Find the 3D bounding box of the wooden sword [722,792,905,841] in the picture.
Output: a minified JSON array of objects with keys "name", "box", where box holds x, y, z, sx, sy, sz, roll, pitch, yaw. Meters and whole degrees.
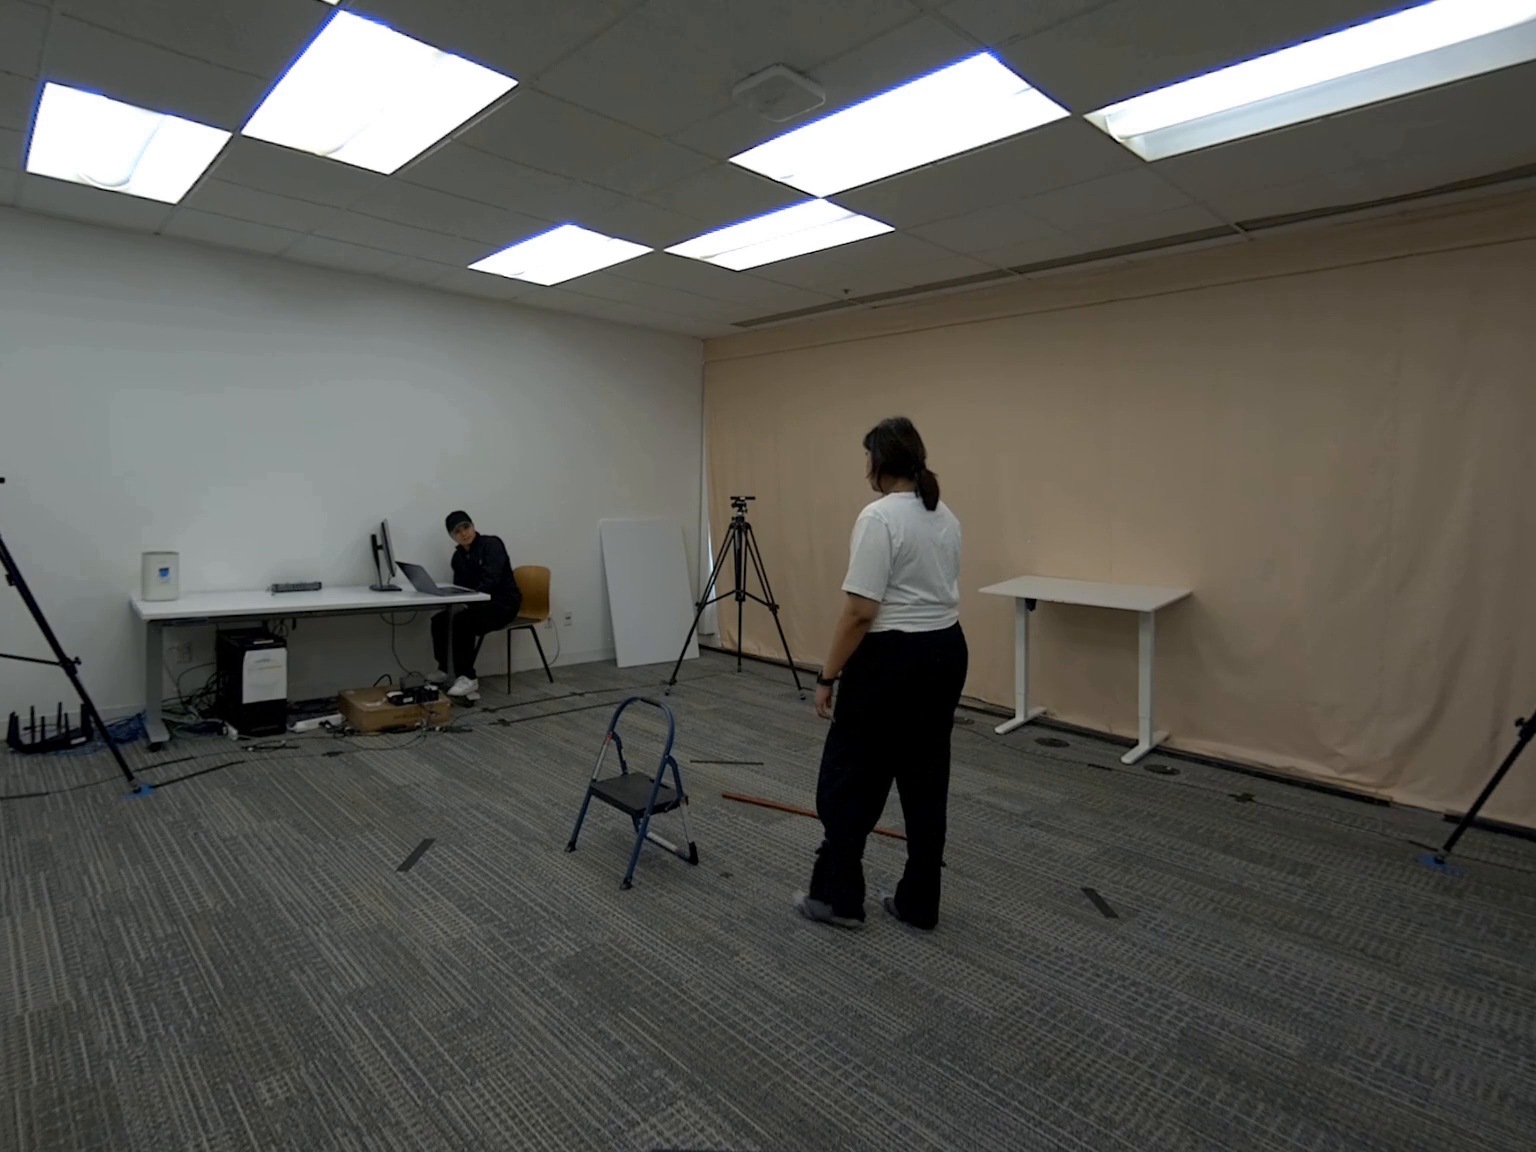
[{"name":"wooden sword","box":[0.223,1.041,3.671,1.048,0.024,0.051,5,23,32]}]
